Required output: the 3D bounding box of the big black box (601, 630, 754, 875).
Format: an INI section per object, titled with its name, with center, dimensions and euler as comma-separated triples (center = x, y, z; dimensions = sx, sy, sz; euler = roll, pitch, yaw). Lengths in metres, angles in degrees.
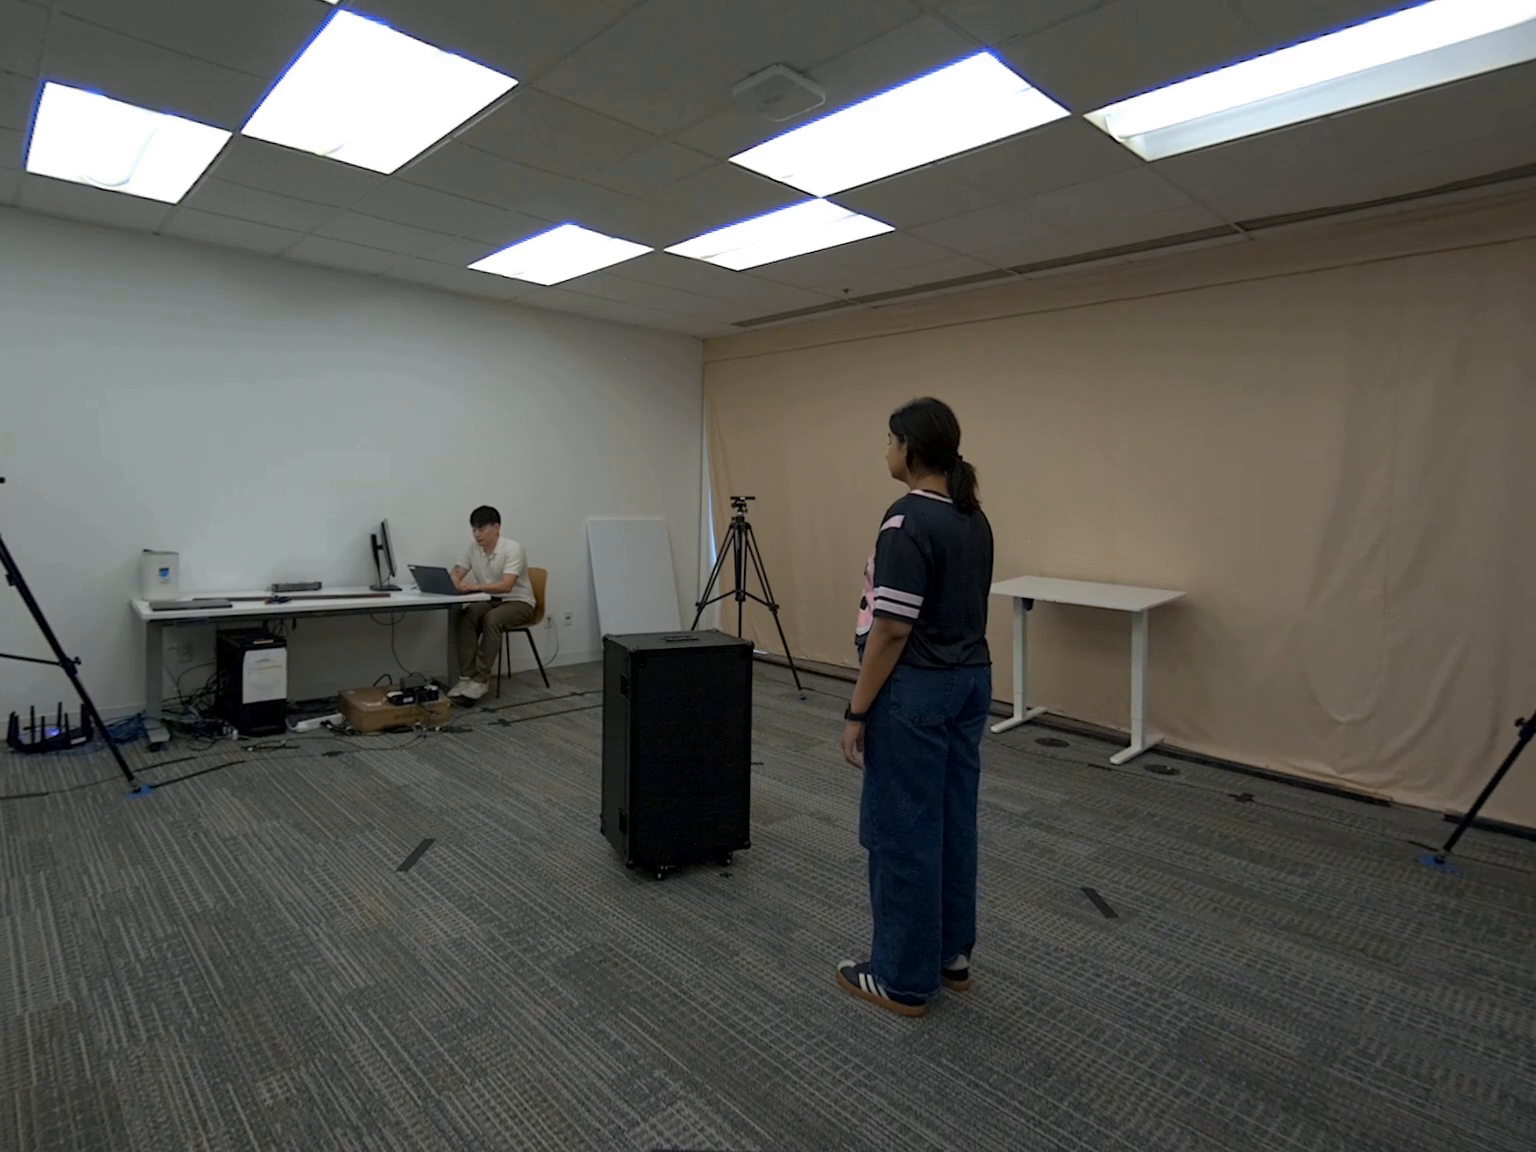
[big black box]
center = -0.368, 0.668, 3.217
dimensions = 0.514, 0.867, 0.393
euler = 0, 3, -26
